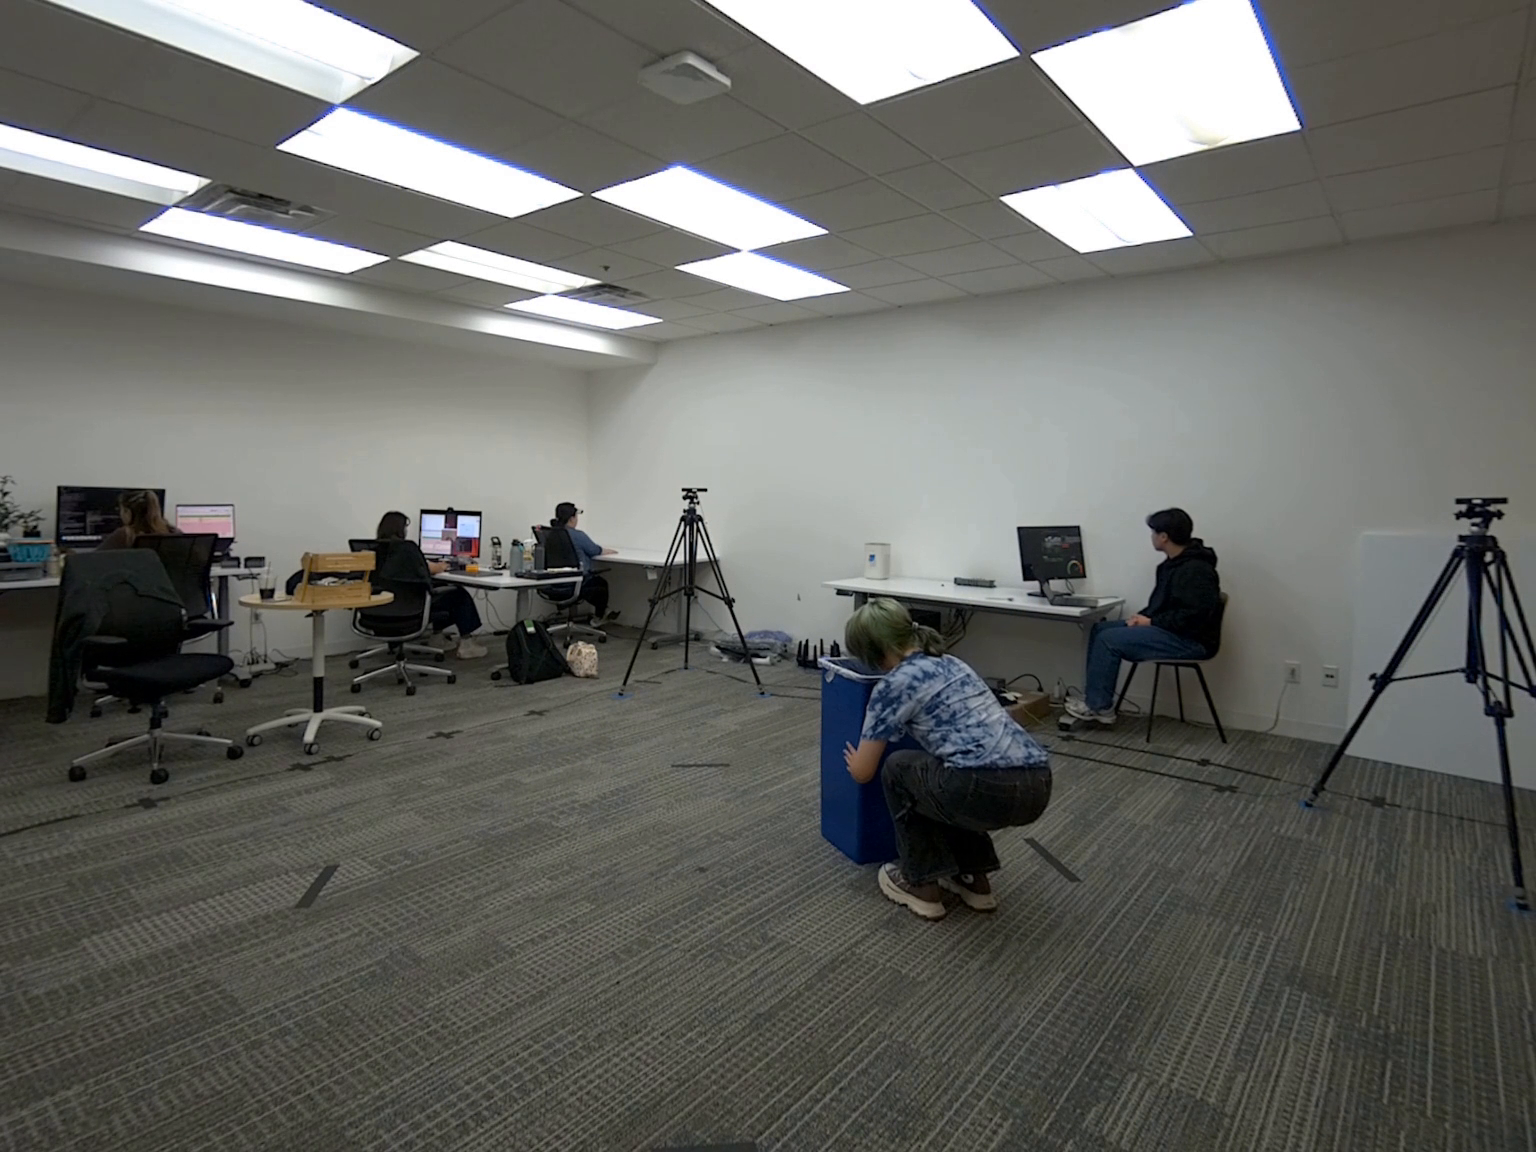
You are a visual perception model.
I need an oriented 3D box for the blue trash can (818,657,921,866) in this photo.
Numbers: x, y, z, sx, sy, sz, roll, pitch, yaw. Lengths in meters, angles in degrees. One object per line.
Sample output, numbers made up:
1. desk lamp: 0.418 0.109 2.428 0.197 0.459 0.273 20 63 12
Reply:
1. blue trash can: 0.417 0.706 3.354 0.366 0.711 0.388 0 4 -23
